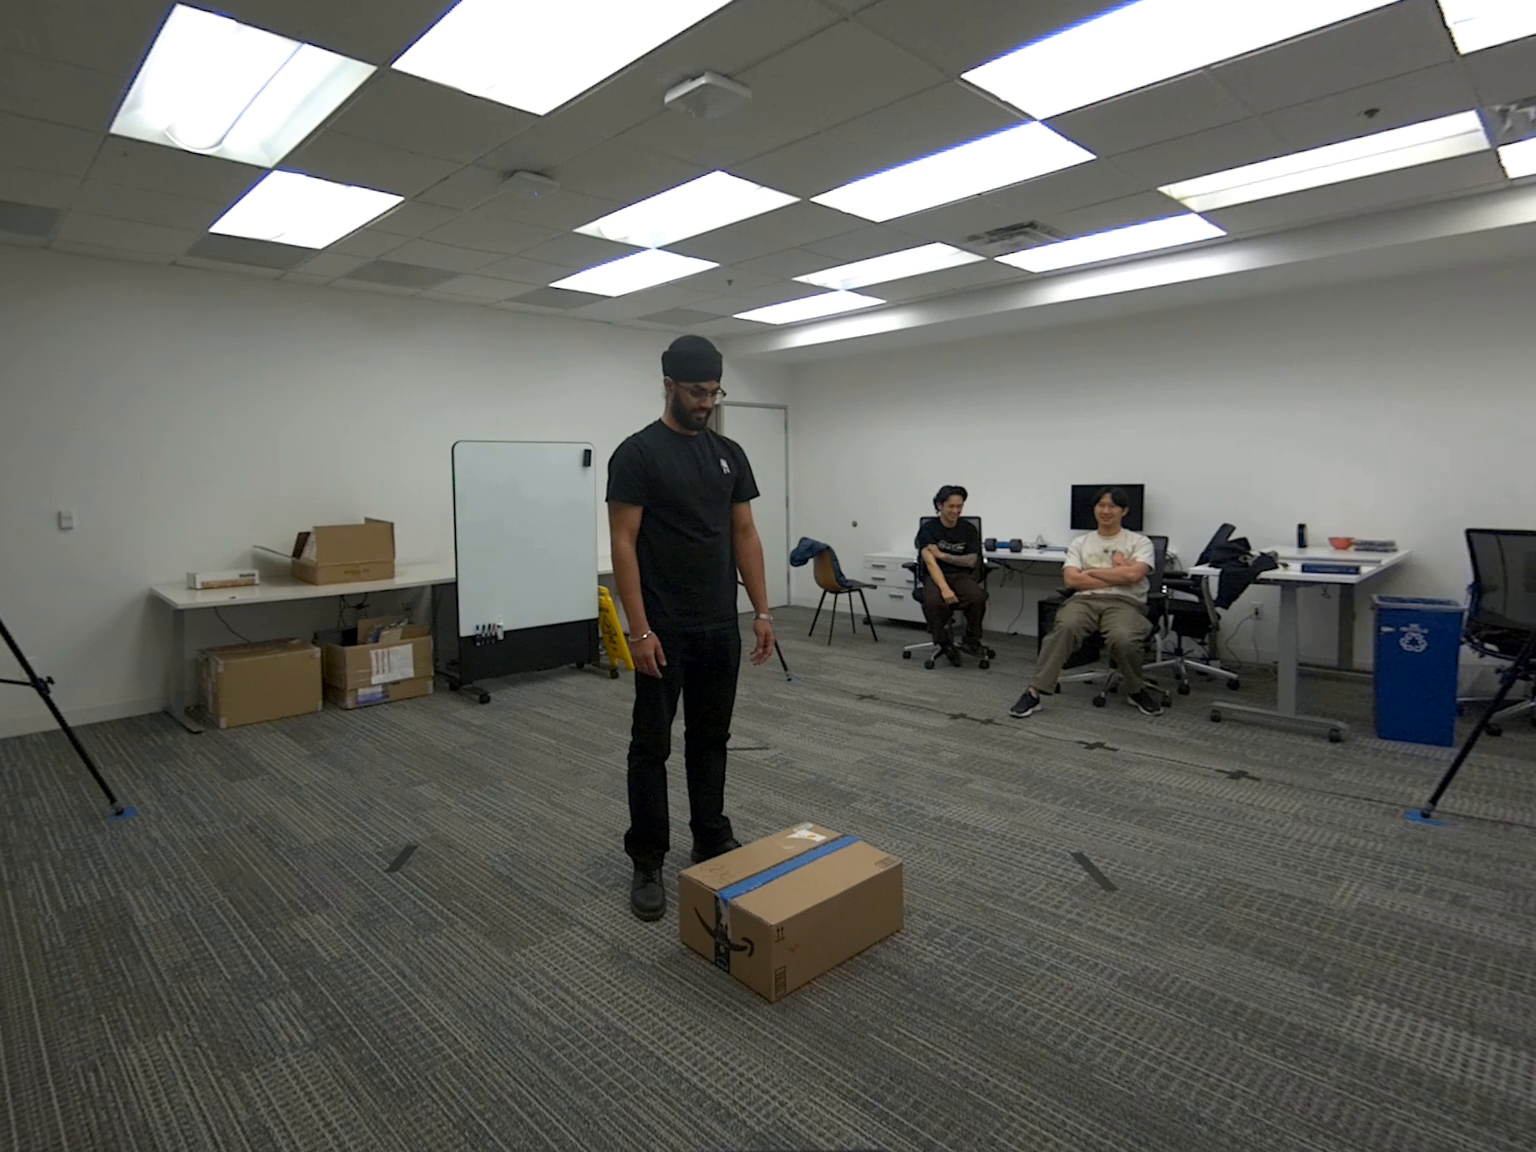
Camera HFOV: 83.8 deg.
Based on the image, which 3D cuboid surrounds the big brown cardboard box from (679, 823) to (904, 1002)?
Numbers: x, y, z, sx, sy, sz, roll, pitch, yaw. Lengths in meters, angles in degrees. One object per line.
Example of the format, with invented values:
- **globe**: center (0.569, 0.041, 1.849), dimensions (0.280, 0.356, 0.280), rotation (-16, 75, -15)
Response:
- **big brown cardboard box**: center (0.077, 0.993, 2.608), dimensions (0.574, 0.232, 0.430), rotation (-9, 9, -42)
